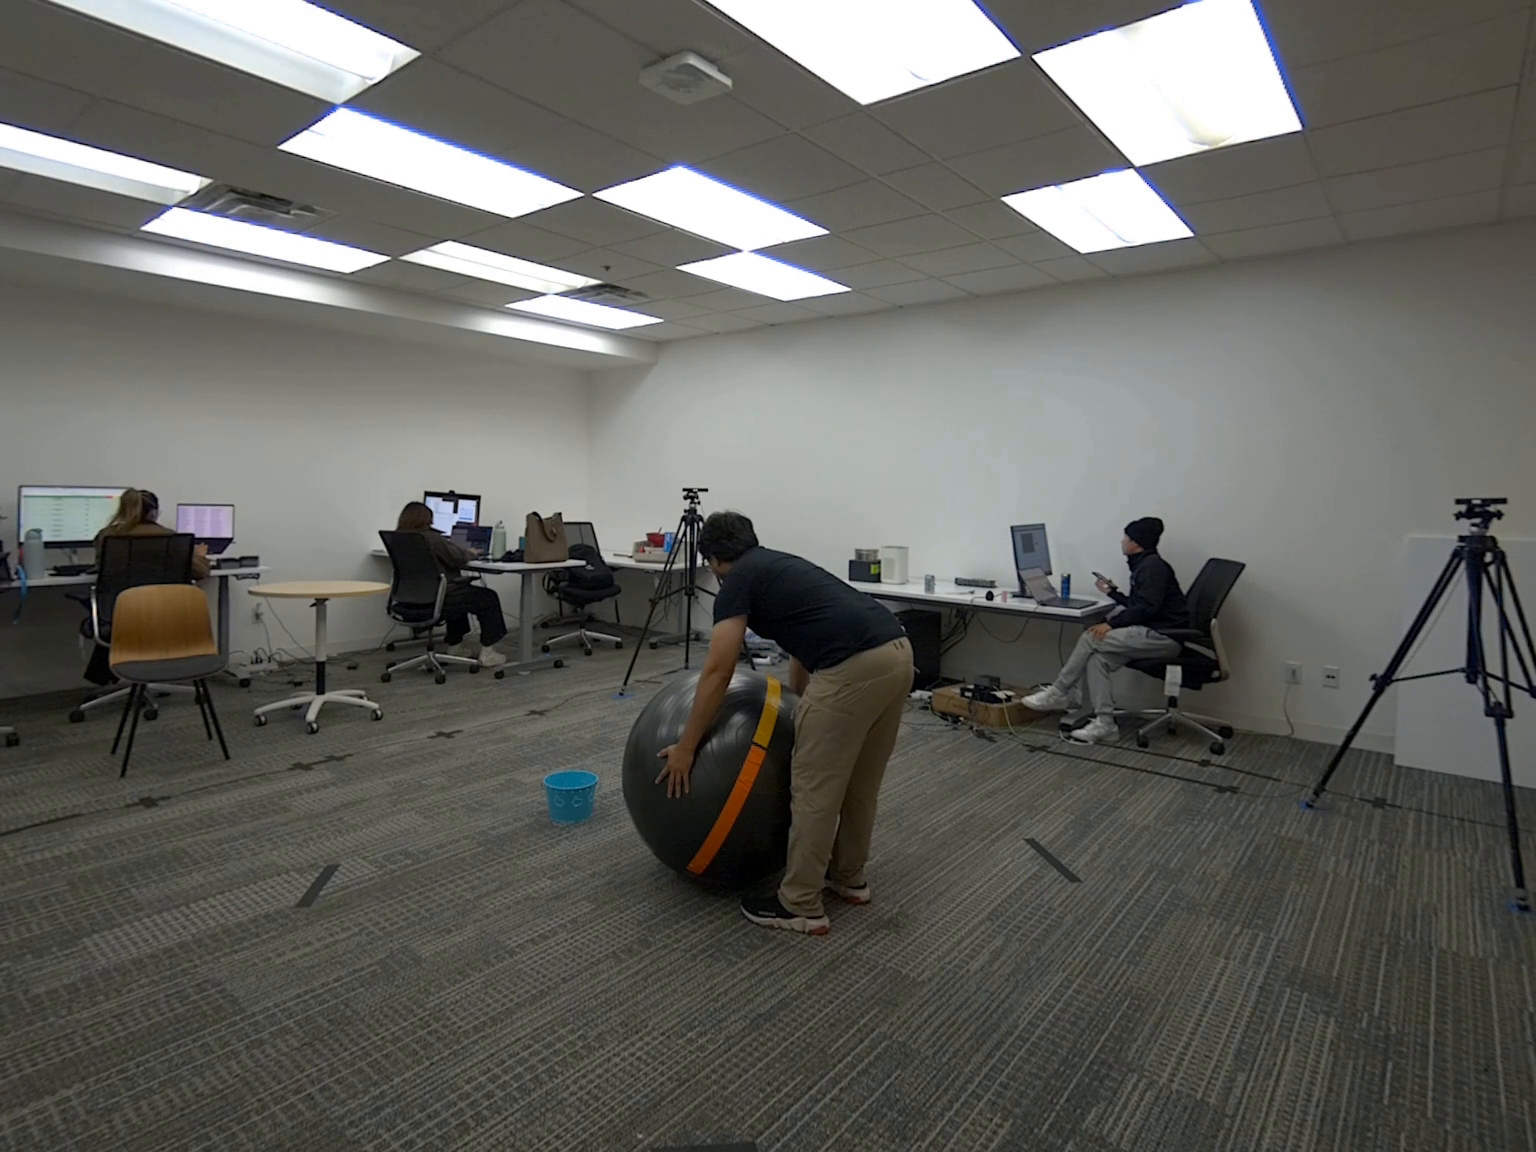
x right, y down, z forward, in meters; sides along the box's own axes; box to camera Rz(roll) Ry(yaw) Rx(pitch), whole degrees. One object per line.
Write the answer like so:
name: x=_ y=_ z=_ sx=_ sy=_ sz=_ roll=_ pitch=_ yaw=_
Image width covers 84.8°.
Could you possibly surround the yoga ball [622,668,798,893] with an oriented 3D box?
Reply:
yoga ball: x=-0.156 y=0.717 z=3.078 sx=0.757 sy=0.756 sz=0.762 roll=1 pitch=4 yaw=-2
